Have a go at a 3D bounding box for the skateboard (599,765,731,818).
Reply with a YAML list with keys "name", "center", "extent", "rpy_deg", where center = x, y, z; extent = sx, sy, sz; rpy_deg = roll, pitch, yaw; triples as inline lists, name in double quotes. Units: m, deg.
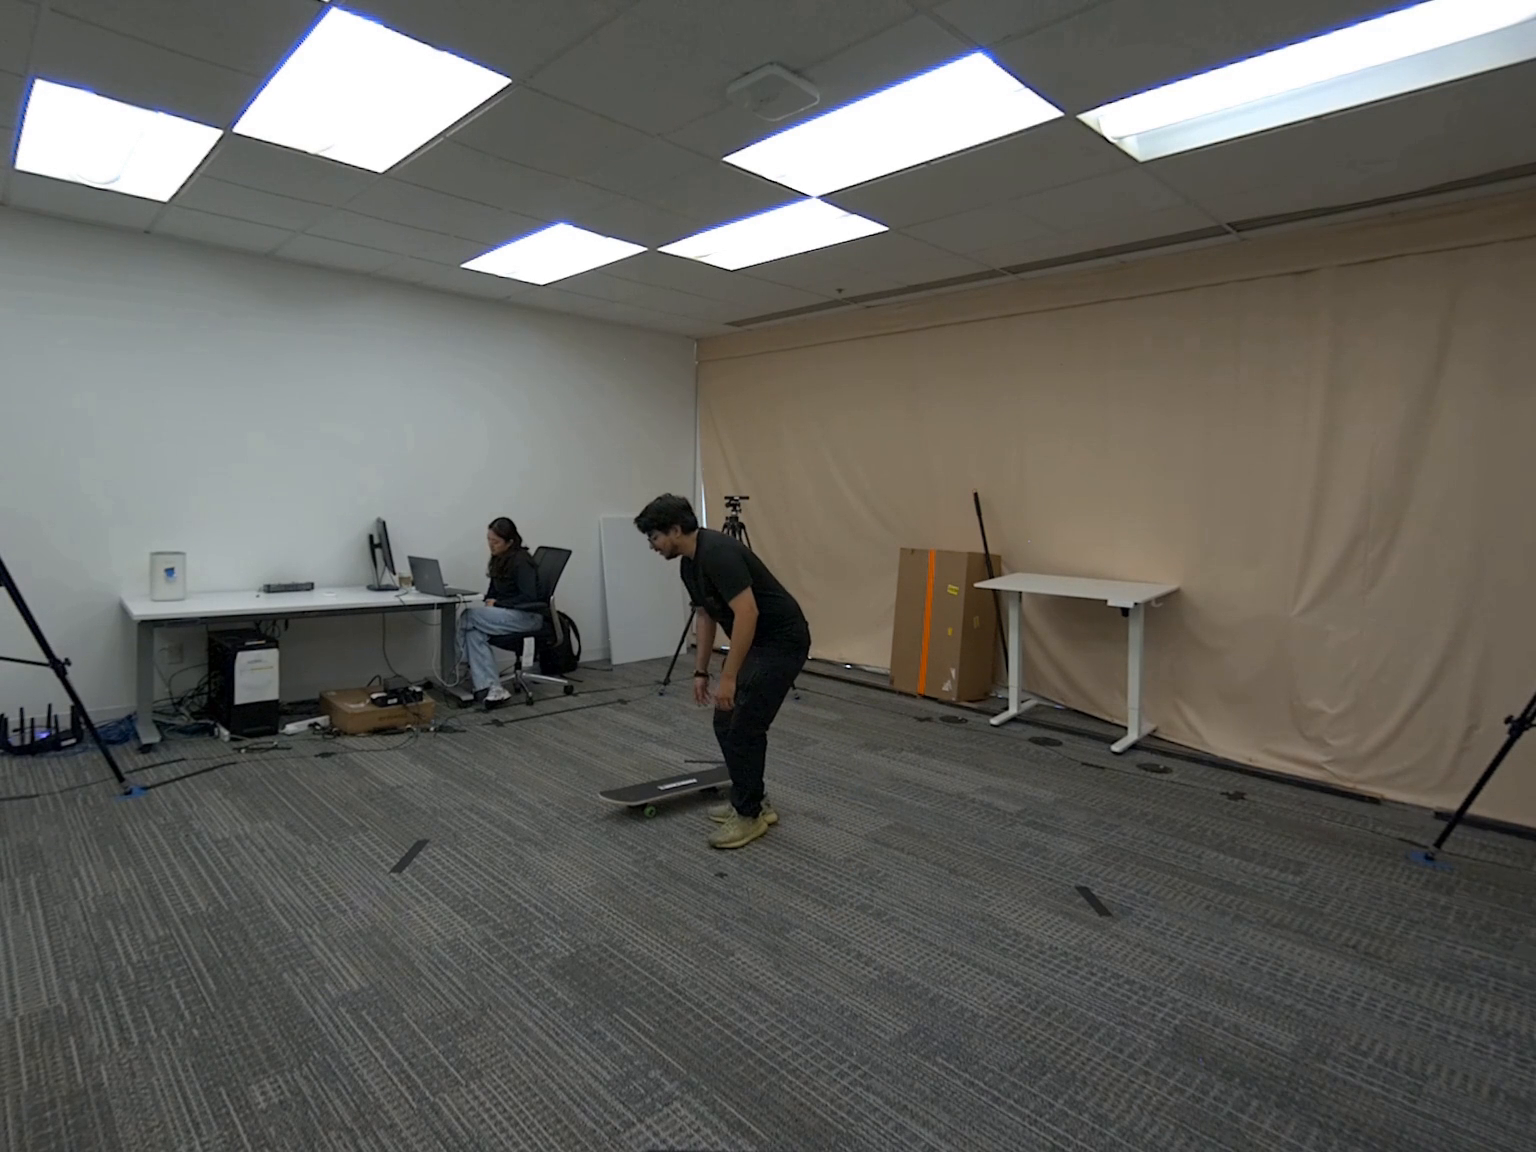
- name: "skateboard"
  center: [-0.423, 0.978, 3.830]
  extent: [0.767, 0.110, 0.198]
  rpy_deg: [-2, 5, -41]
